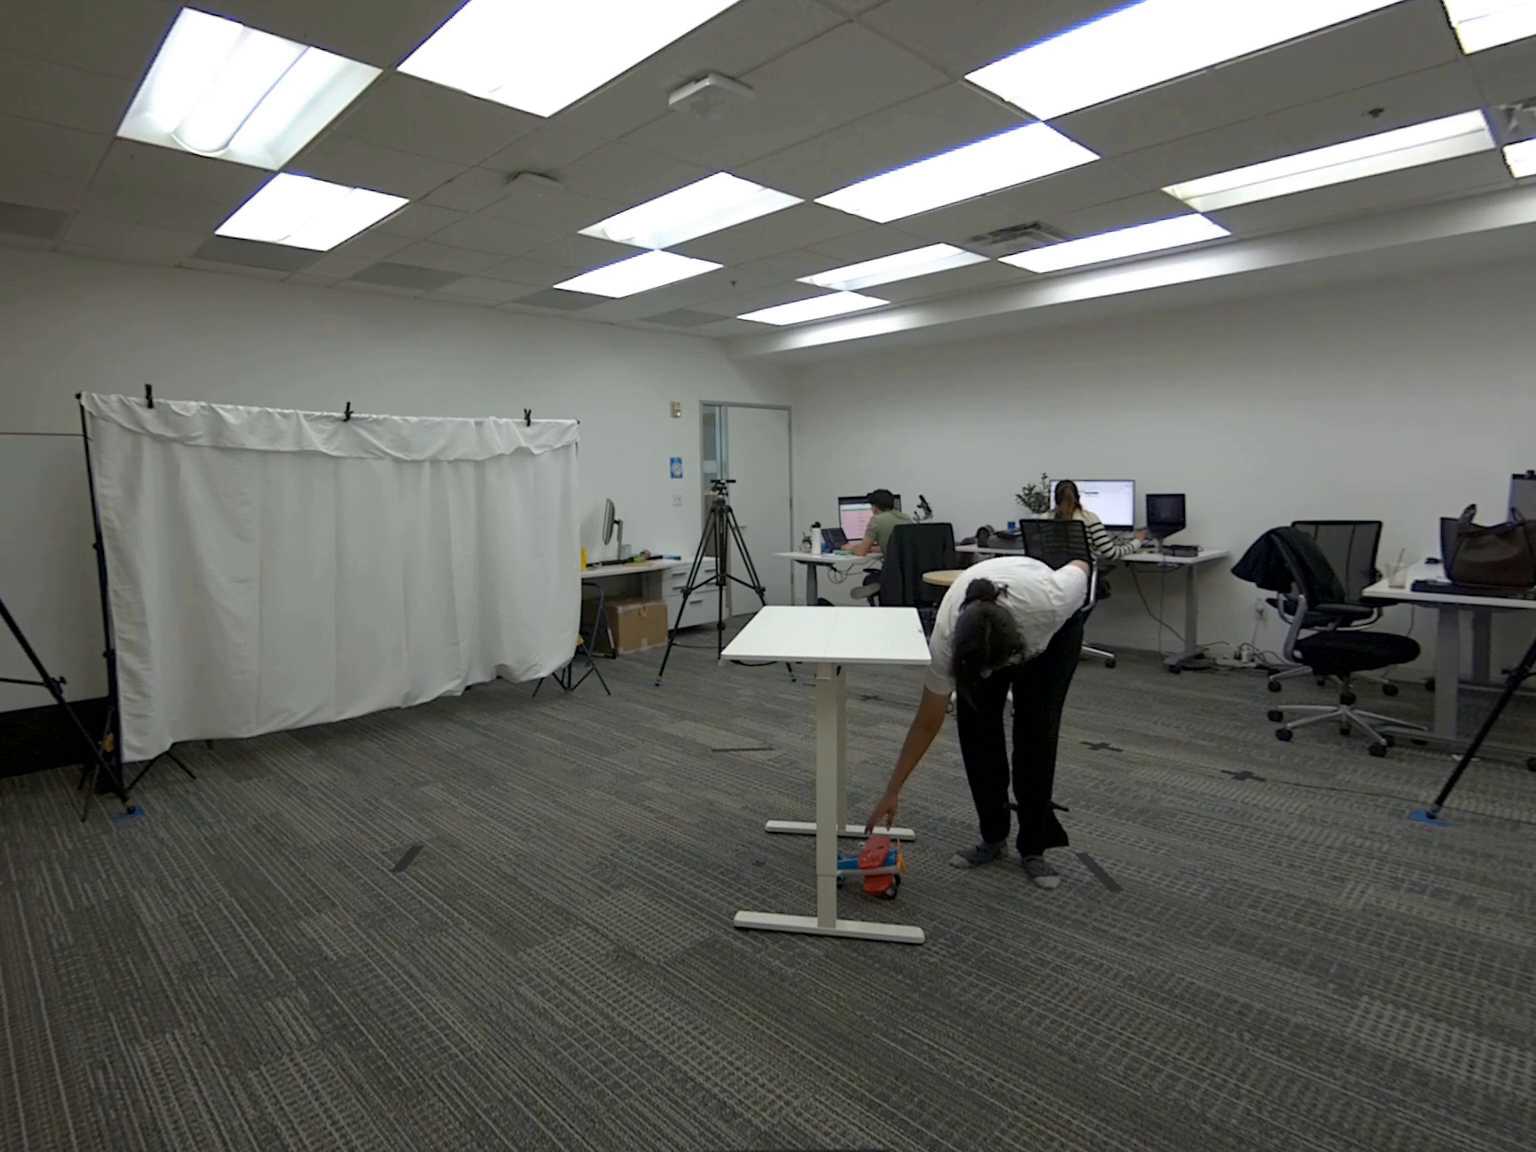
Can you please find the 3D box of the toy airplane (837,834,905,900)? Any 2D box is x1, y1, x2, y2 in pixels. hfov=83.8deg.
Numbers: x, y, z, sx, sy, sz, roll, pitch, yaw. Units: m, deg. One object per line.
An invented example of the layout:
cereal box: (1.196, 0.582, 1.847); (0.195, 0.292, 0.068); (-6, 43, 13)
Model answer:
toy airplane: (0.340, 0.996, 2.877); (0.257, 0.156, 0.254); (-1, 5, -11)
